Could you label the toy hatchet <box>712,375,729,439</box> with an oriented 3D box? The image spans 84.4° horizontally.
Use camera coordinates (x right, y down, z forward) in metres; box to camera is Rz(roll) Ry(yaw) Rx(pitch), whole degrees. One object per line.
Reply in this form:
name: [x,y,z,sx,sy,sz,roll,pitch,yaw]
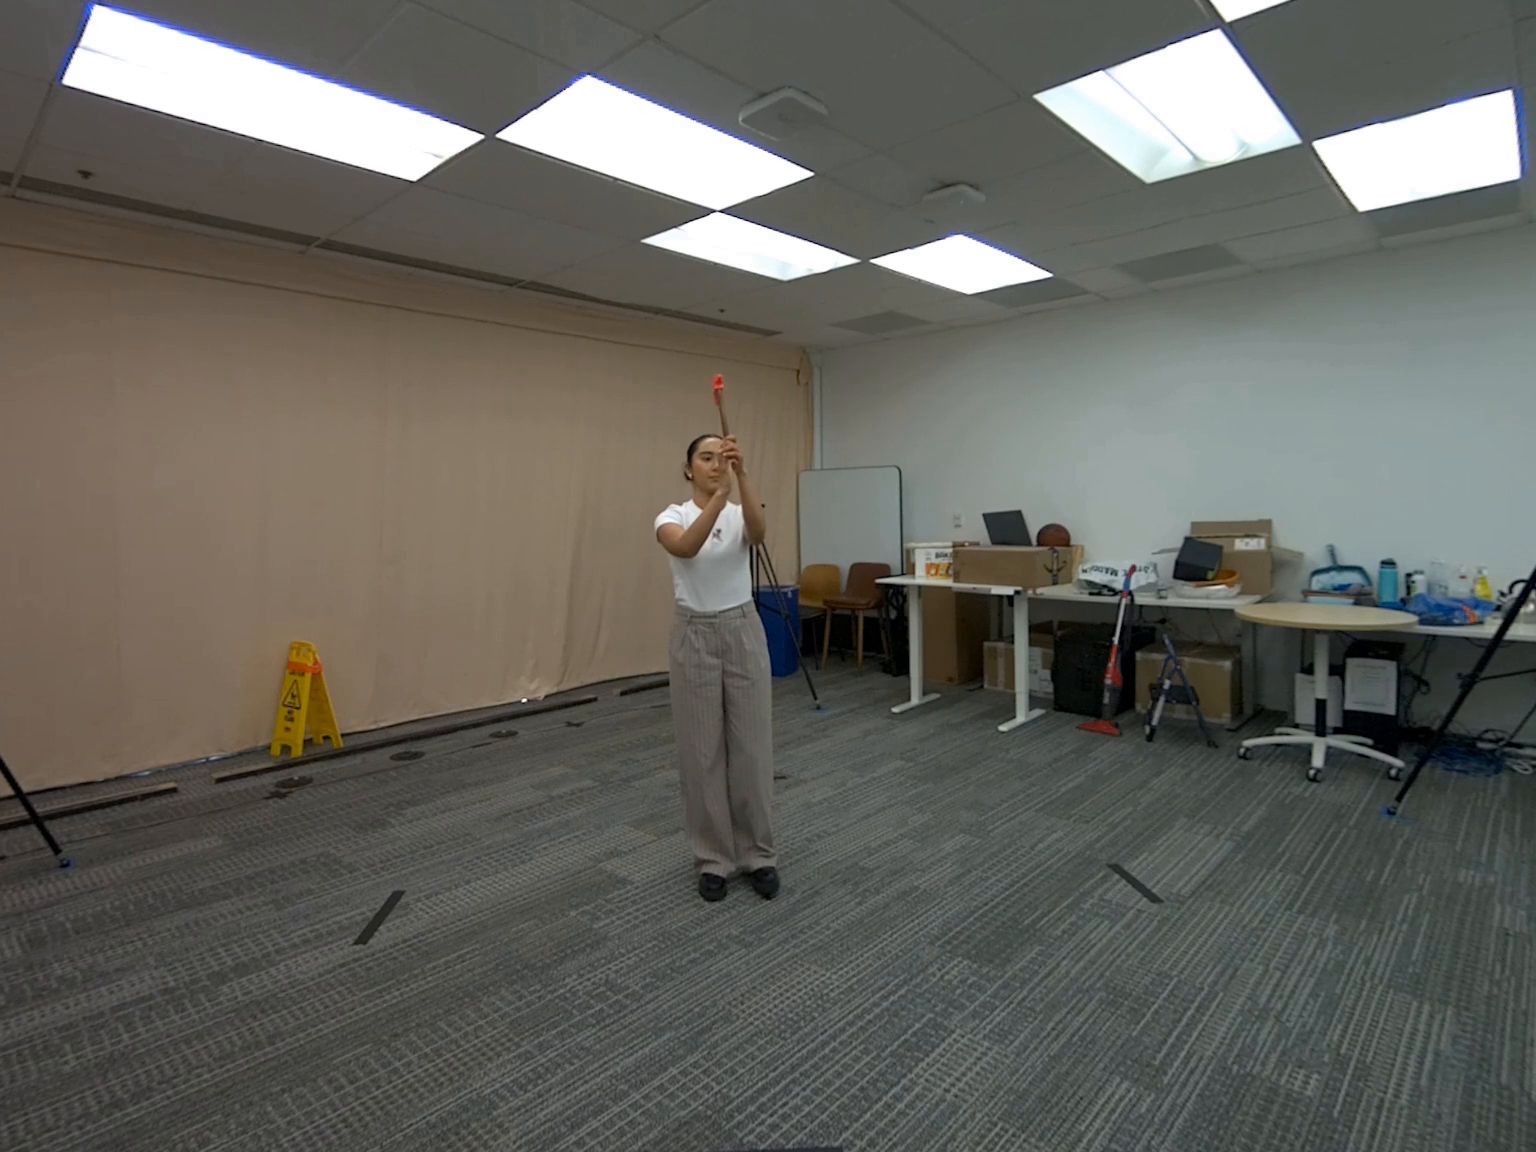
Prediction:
toy hatchet: [-0.147,-0.515,2.710,0.029,0.269,0.134,-6,7,-19]
